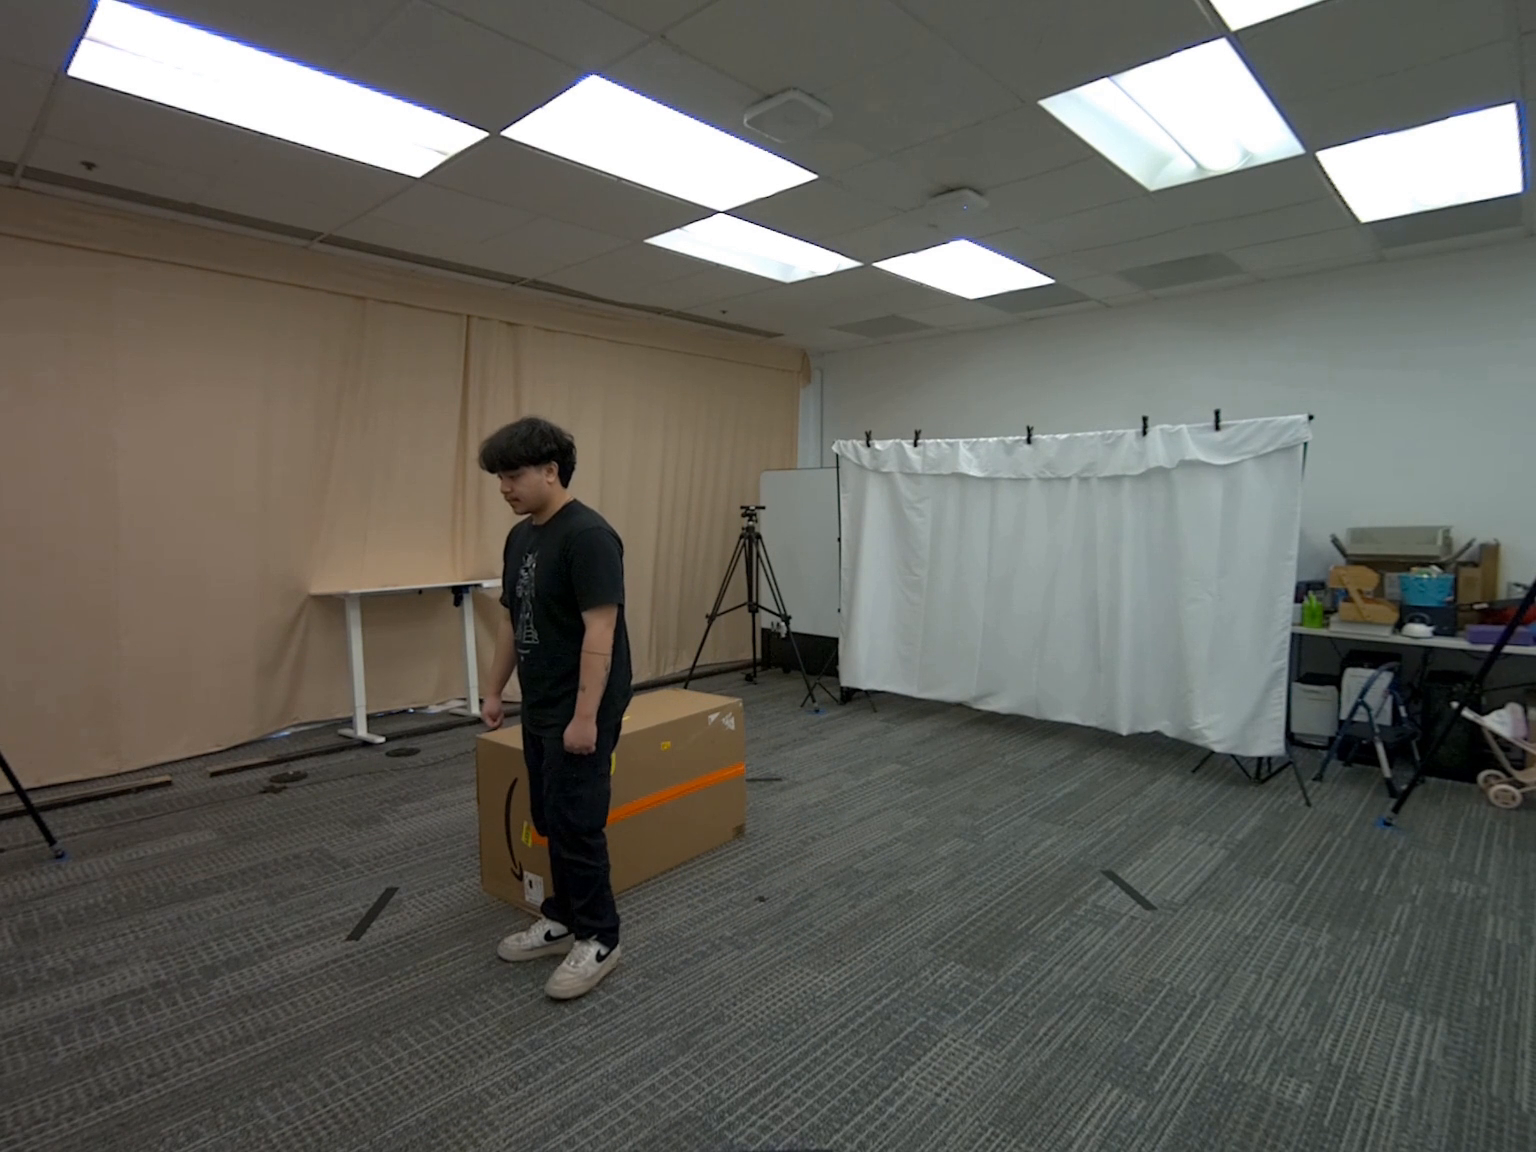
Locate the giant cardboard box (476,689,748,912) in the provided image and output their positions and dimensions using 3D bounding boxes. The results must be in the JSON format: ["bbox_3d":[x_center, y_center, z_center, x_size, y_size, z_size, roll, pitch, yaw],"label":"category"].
[{"bbox_3d":[-0.576,0.836,3.311,0.461,0.582,0.997,3,6,39],"label":"giant cardboard box"}]
